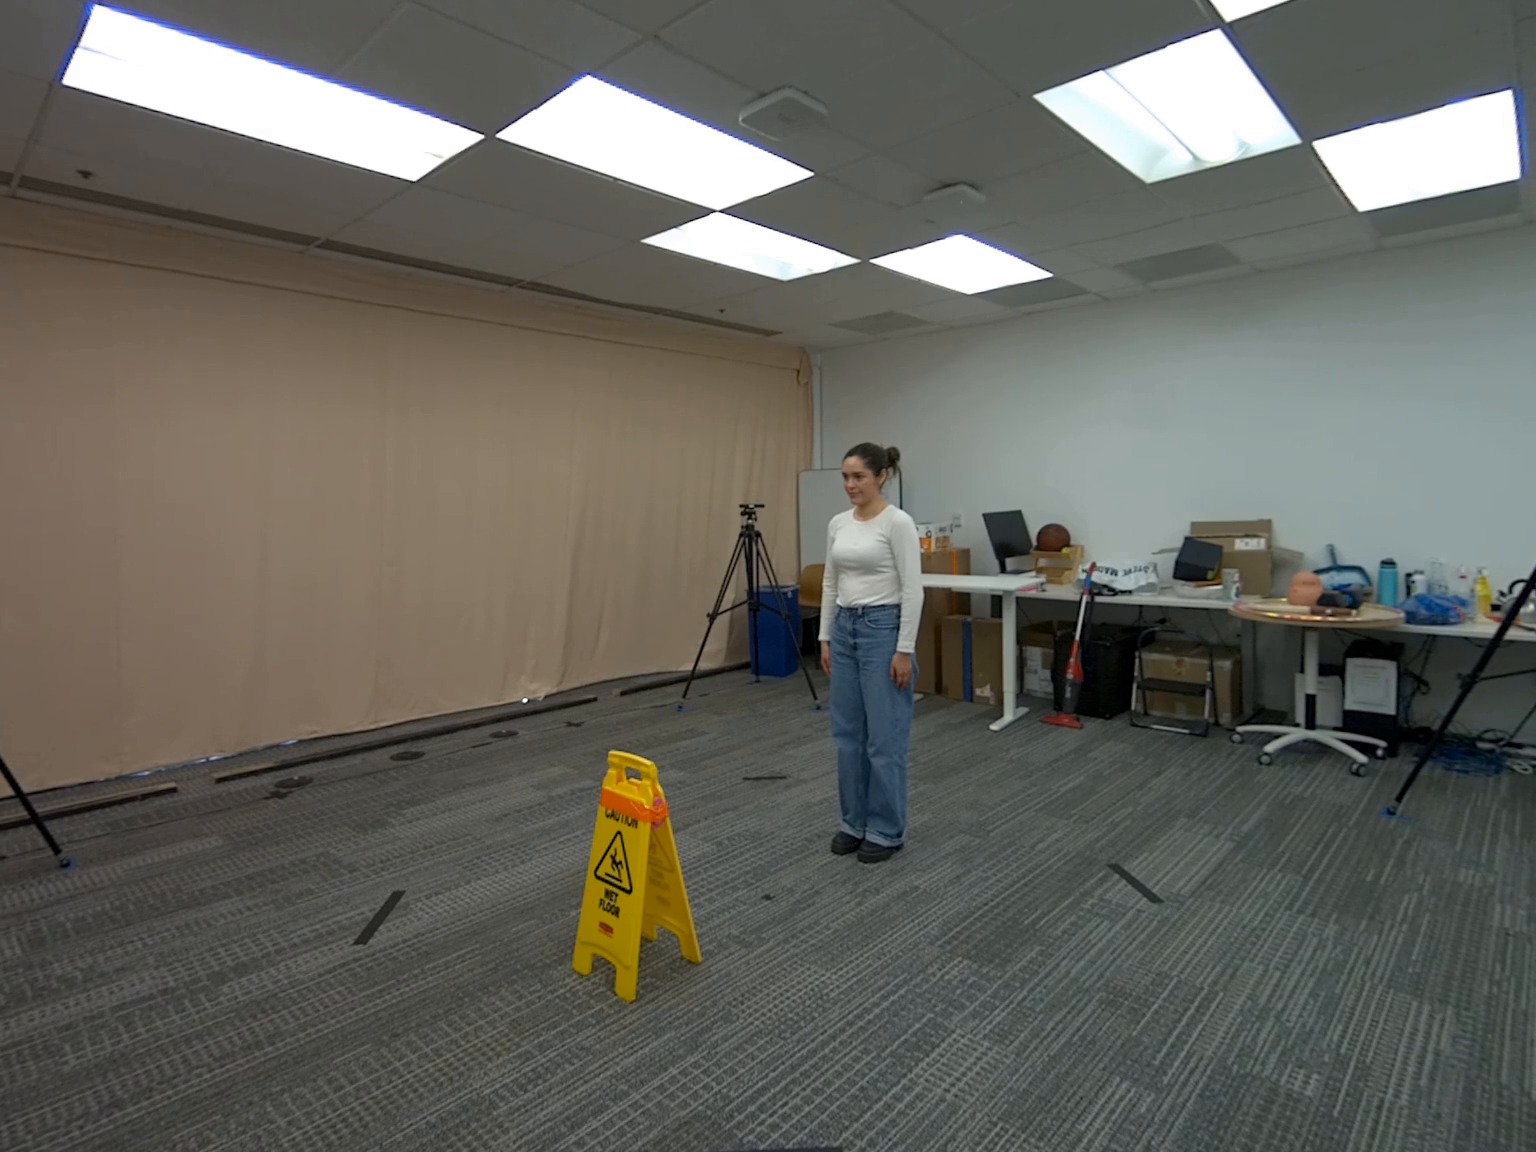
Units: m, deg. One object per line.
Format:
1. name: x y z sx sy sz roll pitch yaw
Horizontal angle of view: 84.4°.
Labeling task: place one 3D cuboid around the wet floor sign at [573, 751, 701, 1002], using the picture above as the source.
1. wet floor sign: -0.403 0.863 2.537 0.291 0.645 0.281 1 4 42
